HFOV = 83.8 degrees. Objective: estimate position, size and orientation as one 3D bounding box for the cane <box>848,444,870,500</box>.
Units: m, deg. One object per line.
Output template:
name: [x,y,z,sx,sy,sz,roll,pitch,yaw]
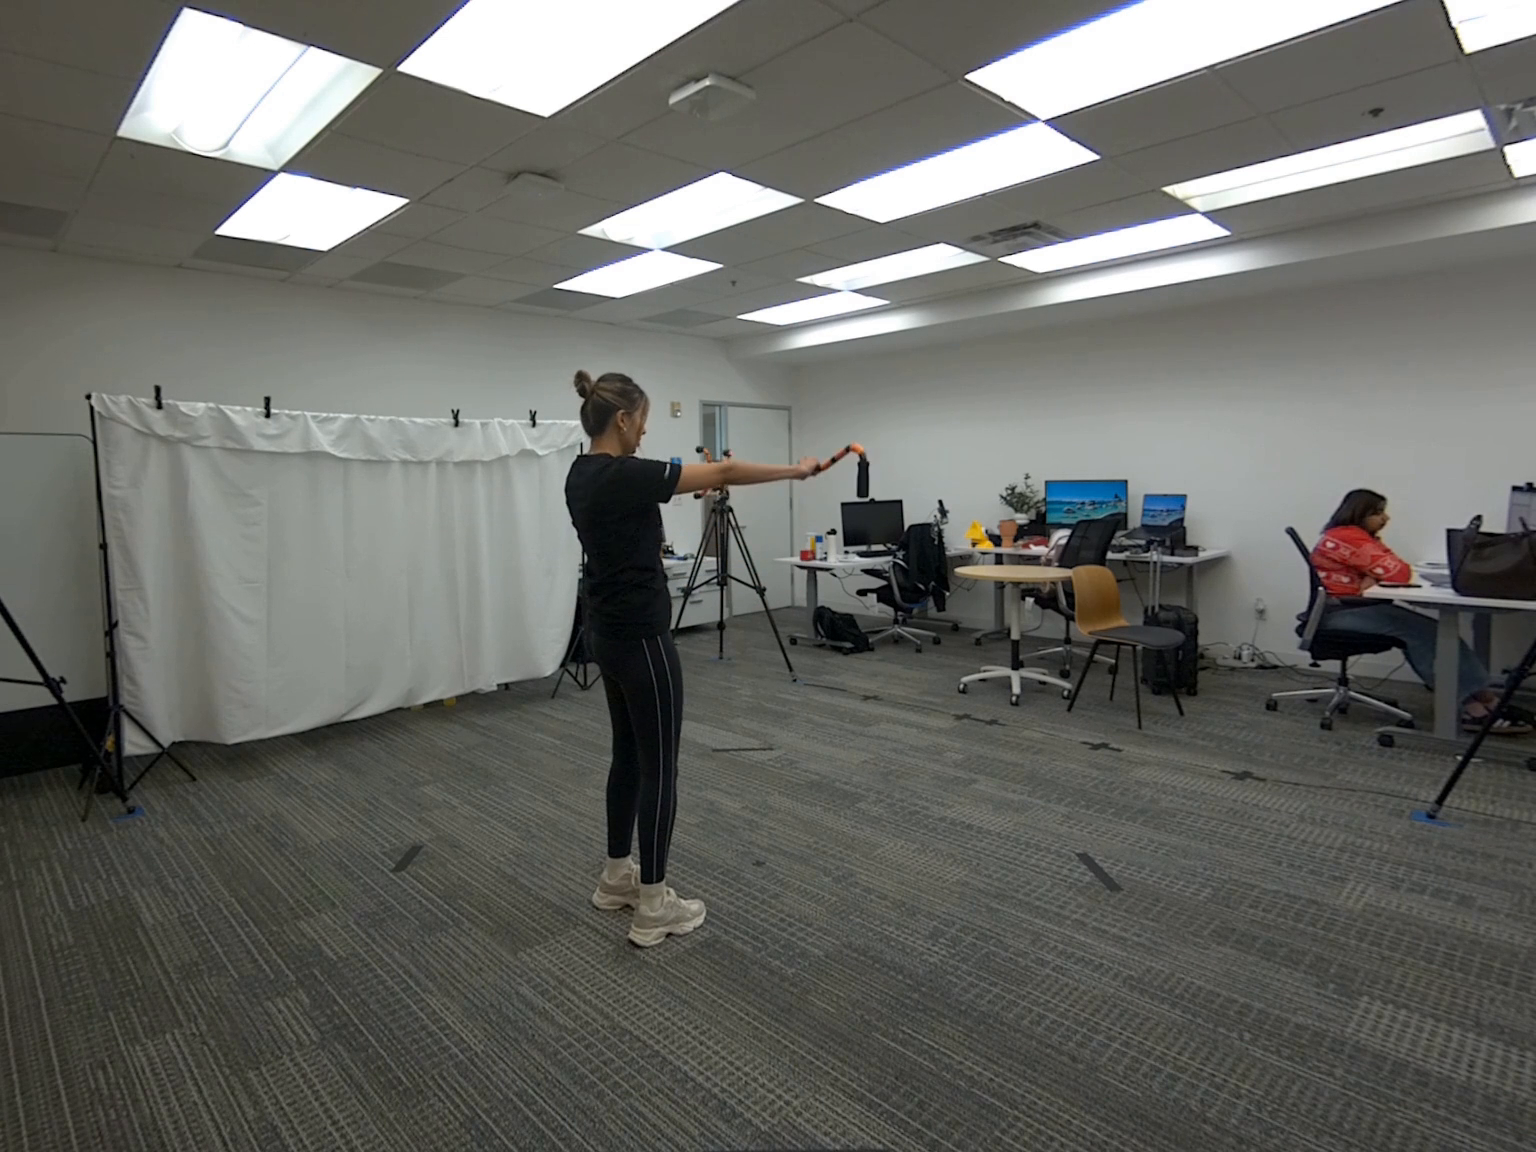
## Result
cane: [0.042,-0.359,2.930,0.147,0.206,0.935,8,0,-35]
